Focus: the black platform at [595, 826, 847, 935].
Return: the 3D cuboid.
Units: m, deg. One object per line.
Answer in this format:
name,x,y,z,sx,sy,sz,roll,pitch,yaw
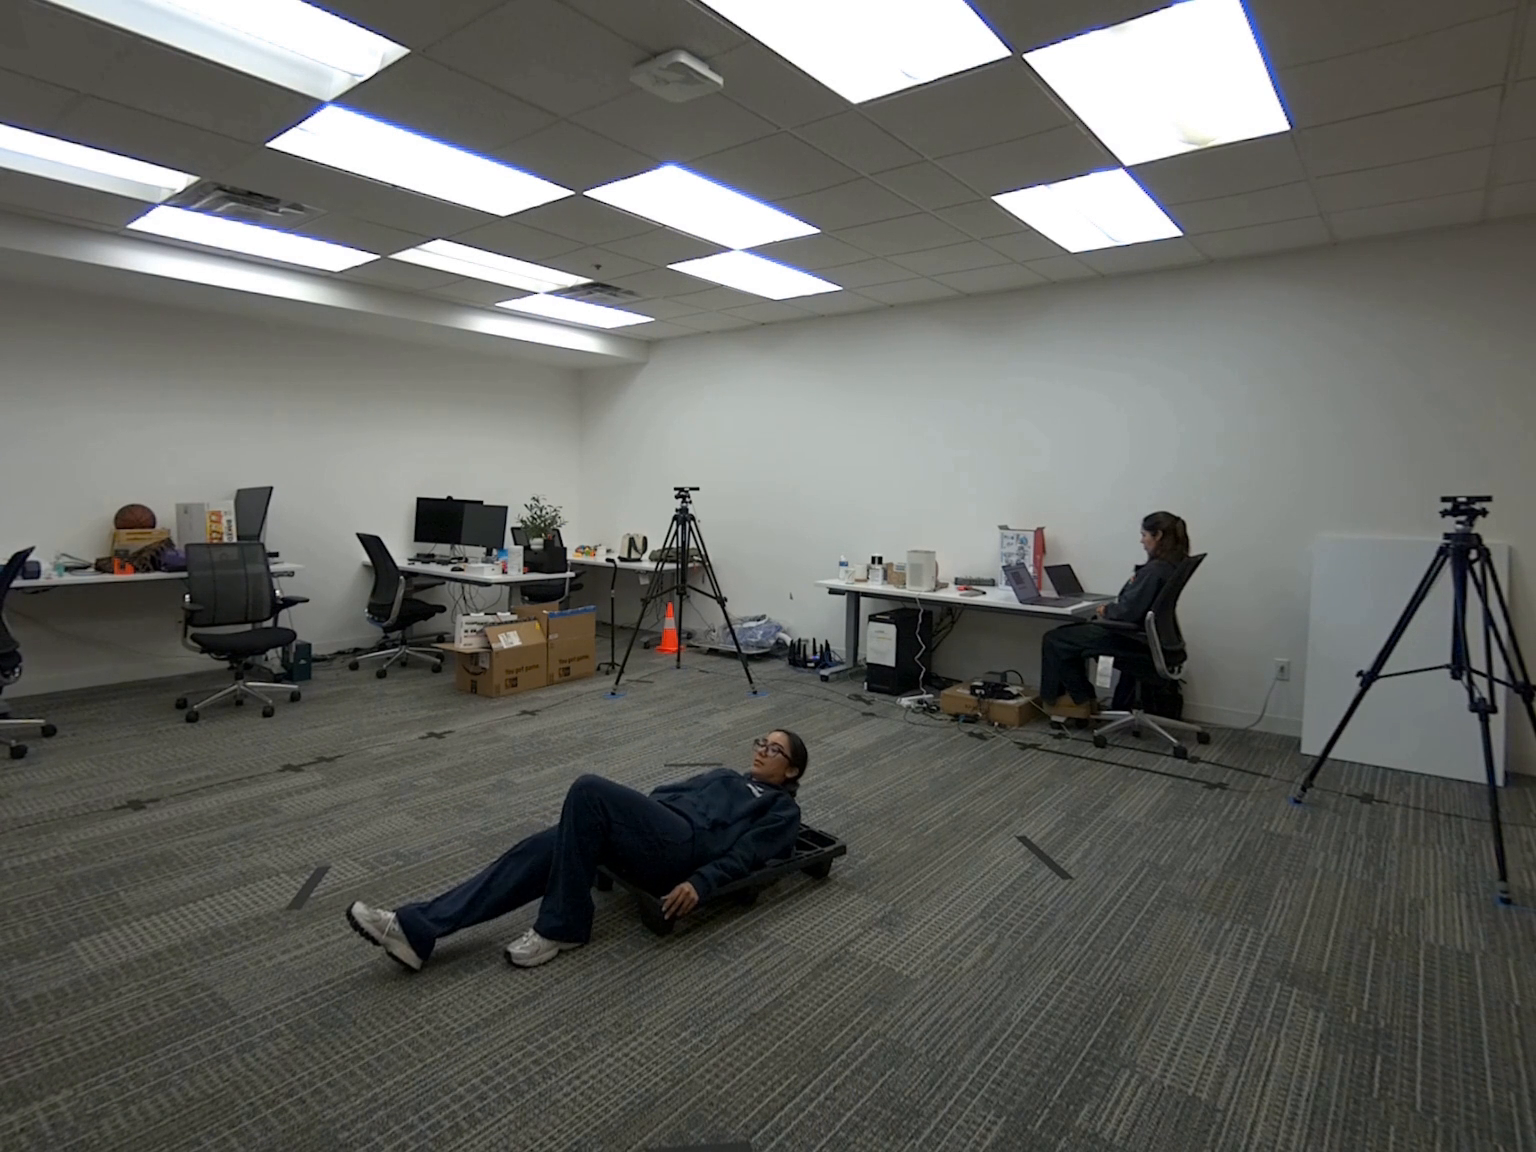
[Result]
black platform,-0.208,1.008,3.027,0.782,0.143,0.625,-4,7,-38
